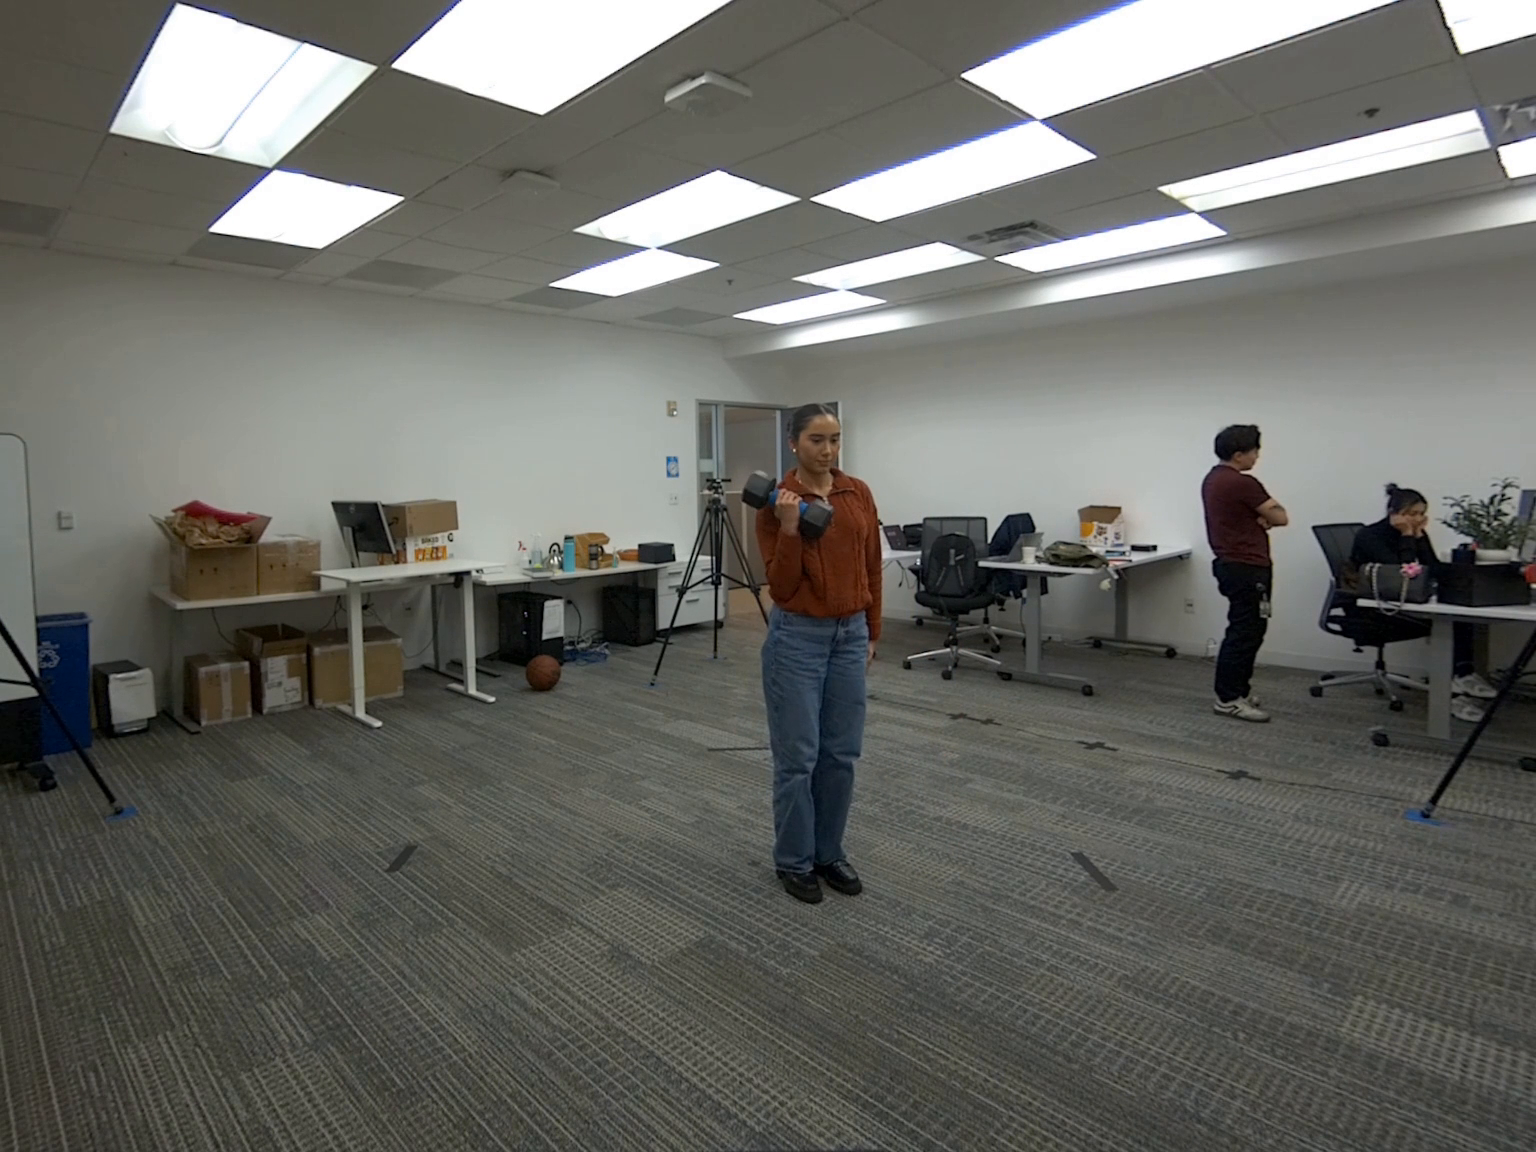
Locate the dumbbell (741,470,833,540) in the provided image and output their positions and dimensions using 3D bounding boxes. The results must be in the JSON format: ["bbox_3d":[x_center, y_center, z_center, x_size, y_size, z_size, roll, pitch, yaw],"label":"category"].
[{"bbox_3d":[0.060,-0.228,2.762,0.298,0.123,0.106,28,-10,12],"label":"dumbbell"}]
